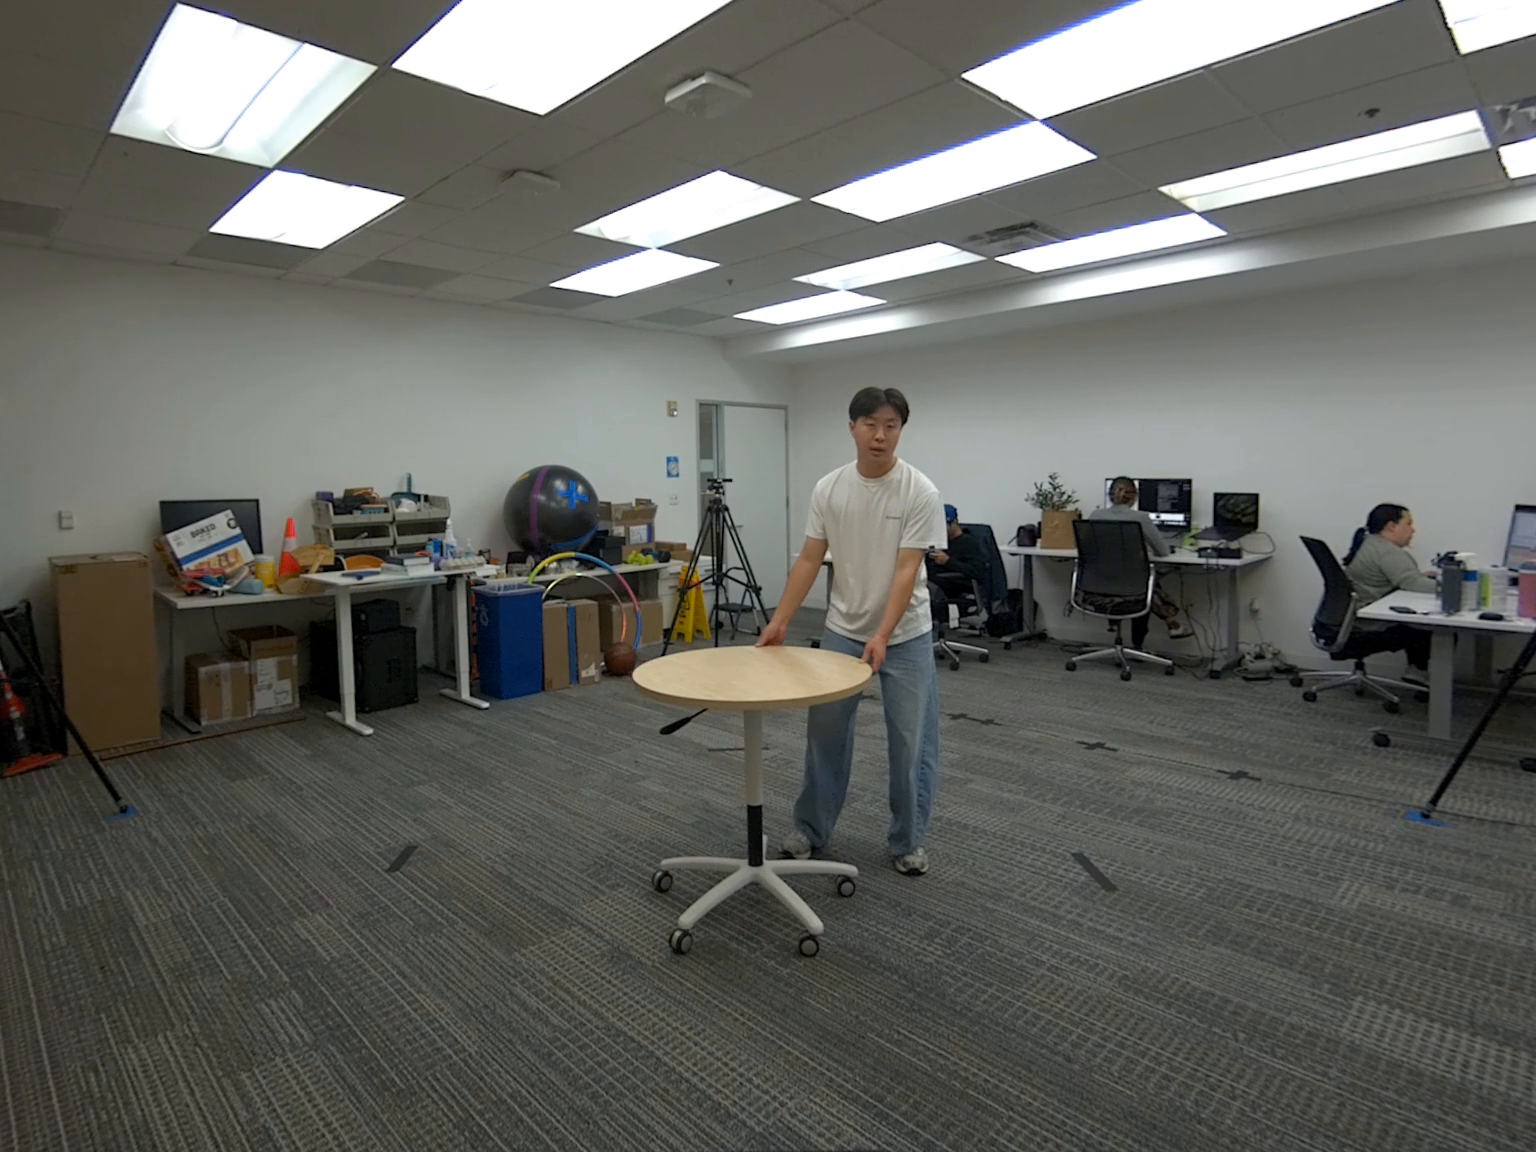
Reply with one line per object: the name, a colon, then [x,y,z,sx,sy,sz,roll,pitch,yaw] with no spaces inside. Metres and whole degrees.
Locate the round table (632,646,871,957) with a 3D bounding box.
round table: [-0.046,0.694,2.779,0.763,0.791,0.768,-1,5,-2]
